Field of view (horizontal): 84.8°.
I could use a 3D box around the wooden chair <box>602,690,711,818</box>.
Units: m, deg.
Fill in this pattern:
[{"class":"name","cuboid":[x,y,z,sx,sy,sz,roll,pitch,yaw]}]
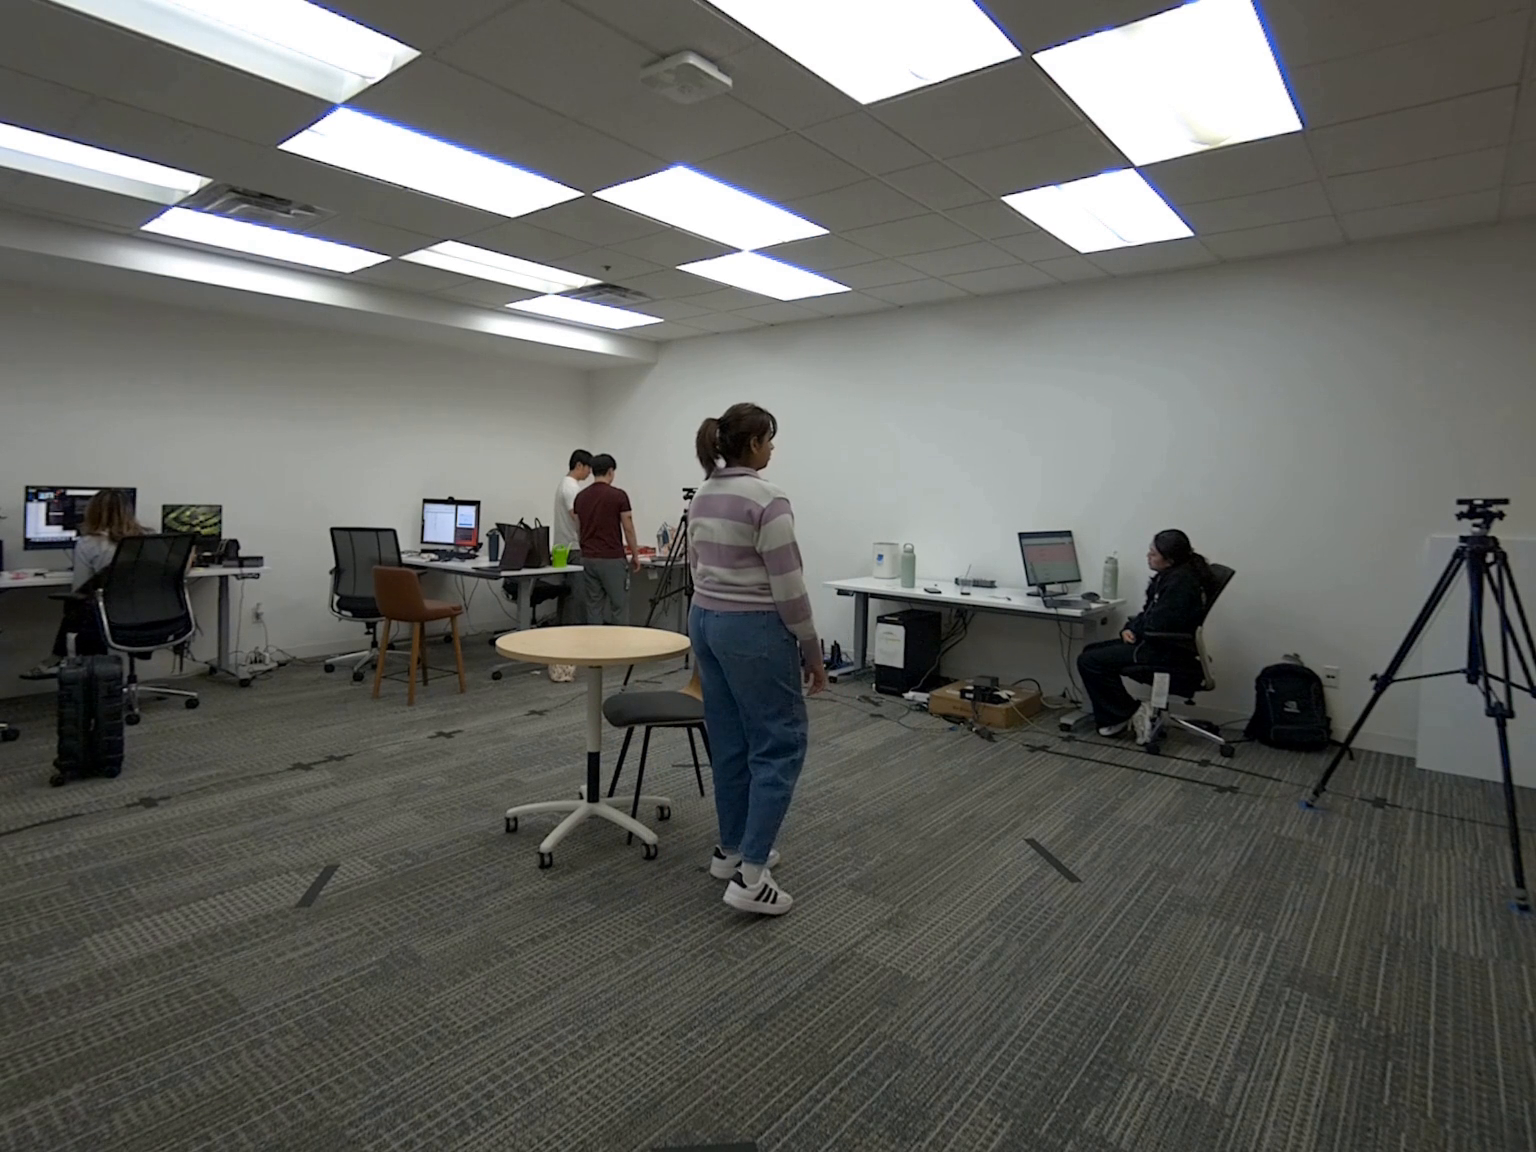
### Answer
[{"class":"wooden chair","cuboid":[-0.434,0.595,3.557,0.512,0.876,0.489,4,3,-21]}]
